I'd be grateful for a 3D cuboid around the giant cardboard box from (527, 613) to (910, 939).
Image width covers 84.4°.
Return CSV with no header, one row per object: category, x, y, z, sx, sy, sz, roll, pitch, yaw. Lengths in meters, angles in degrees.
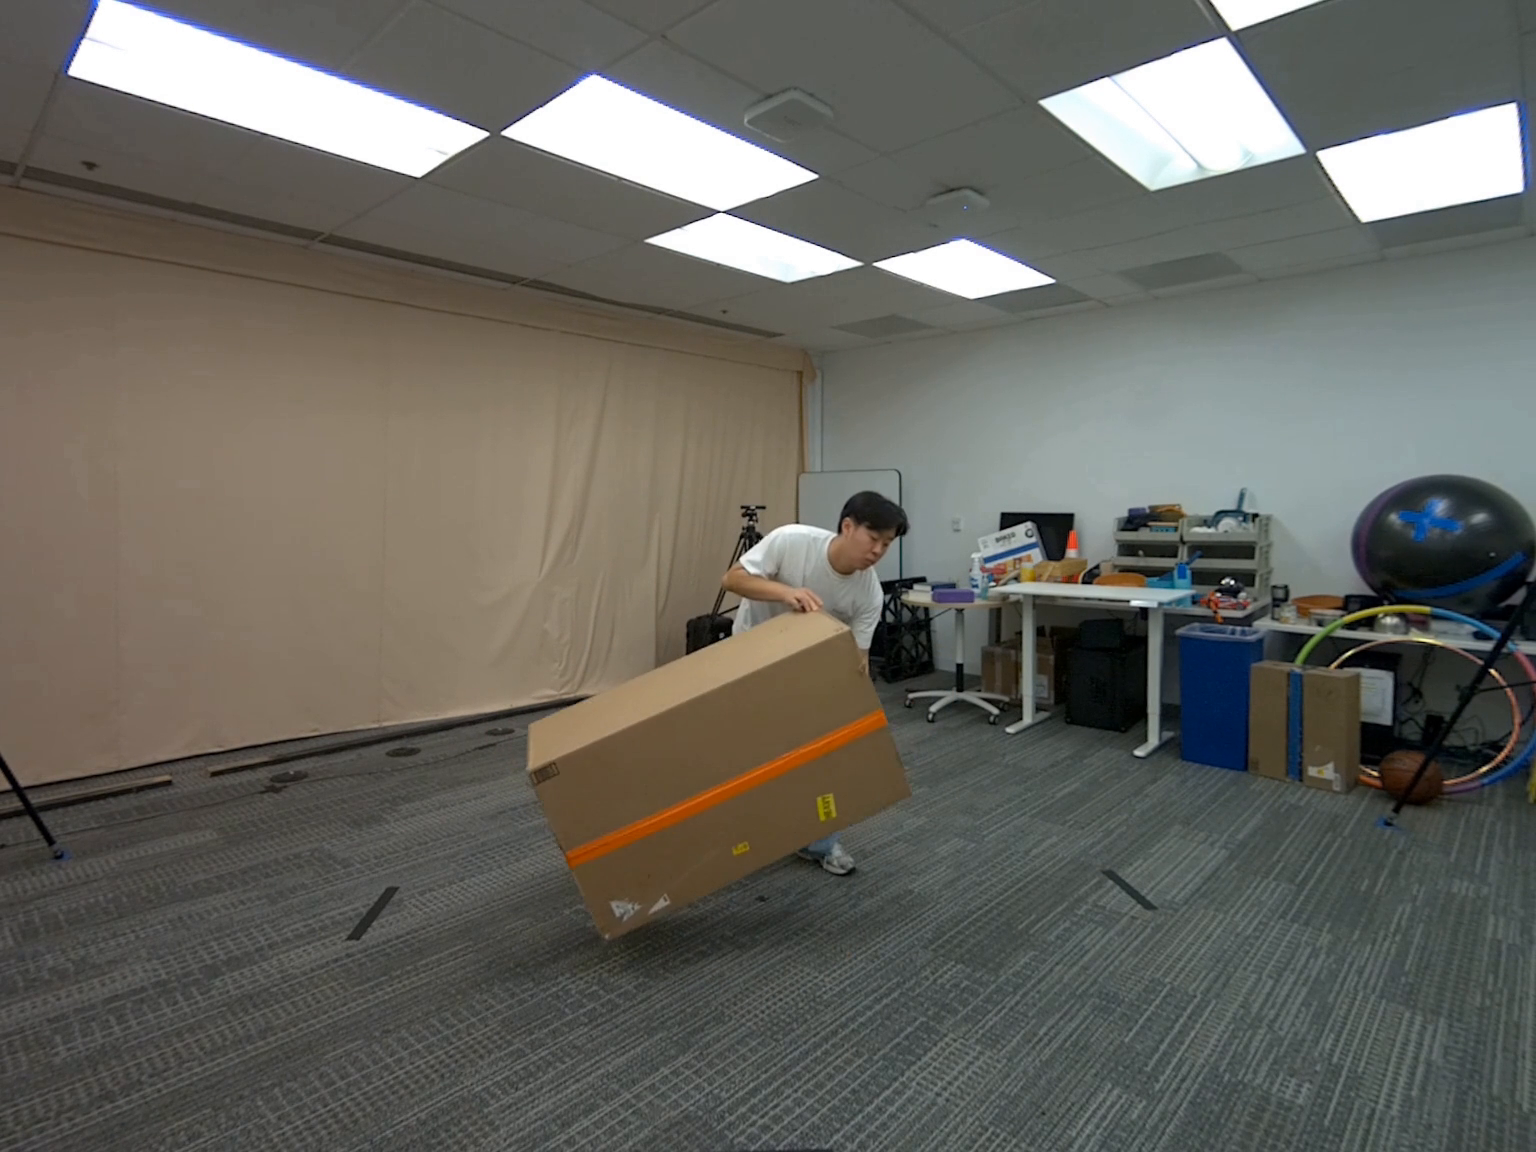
giant cardboard box,-0.160,0.591,2.654,1.019,0.571,0.434,-24,12,-8
